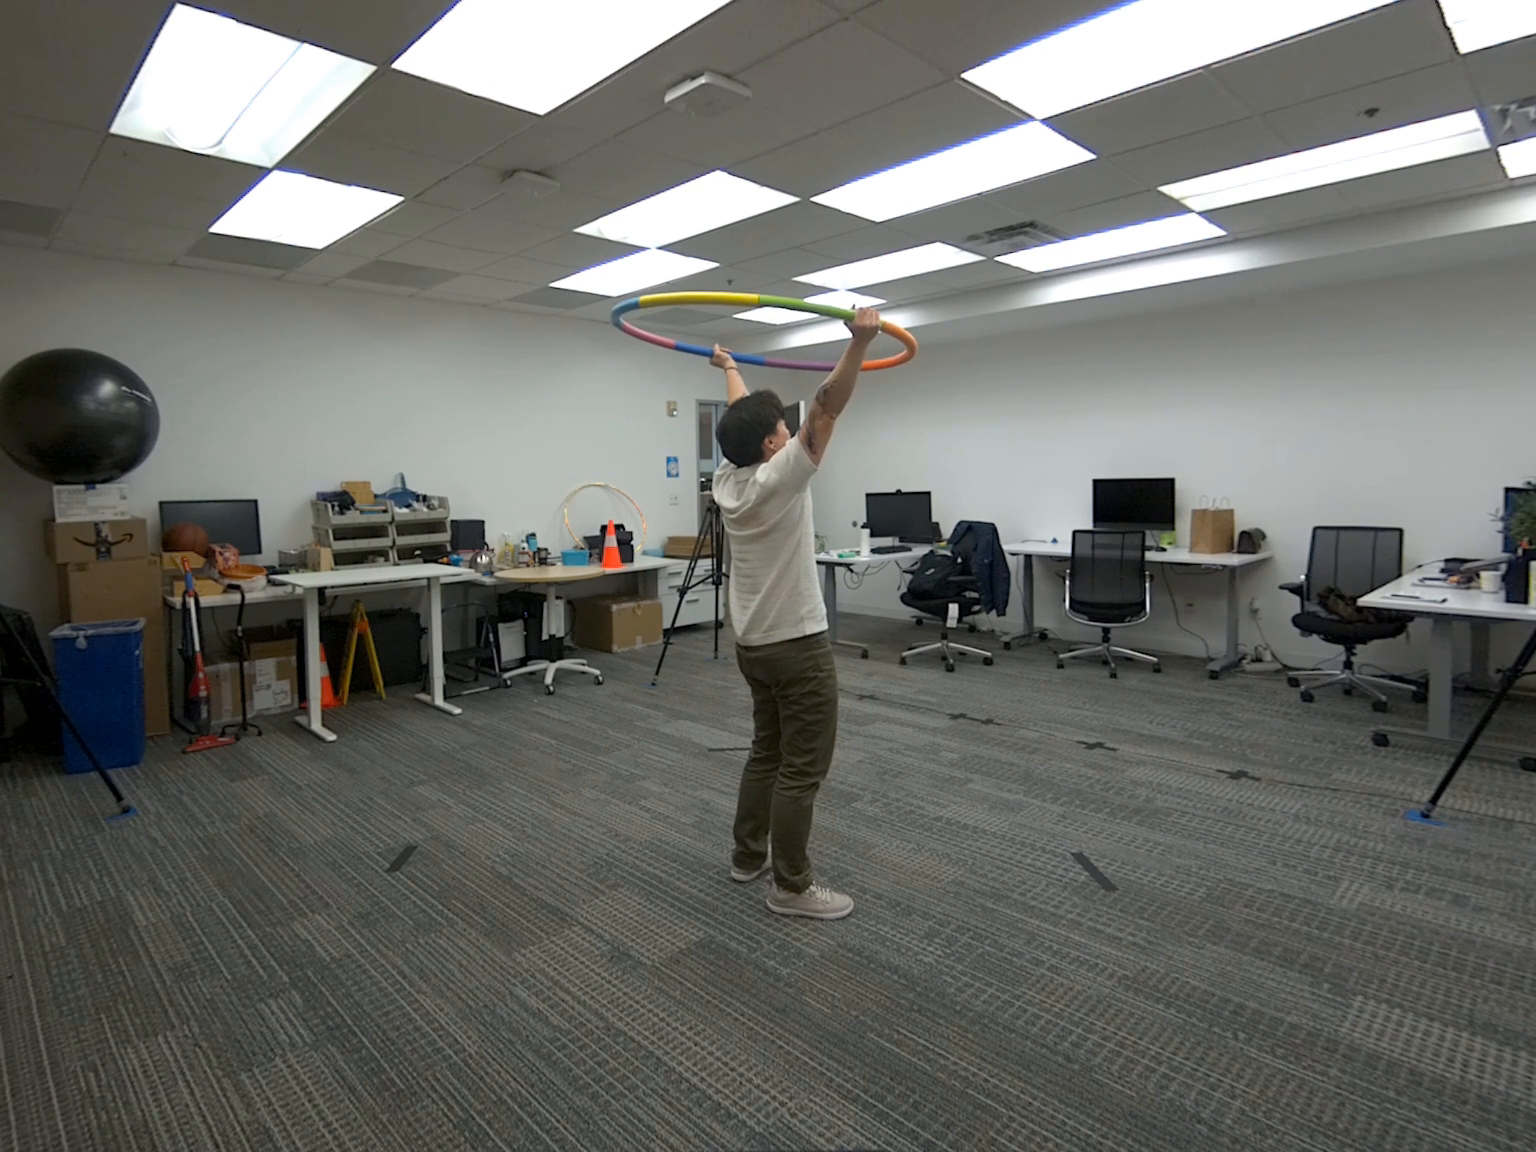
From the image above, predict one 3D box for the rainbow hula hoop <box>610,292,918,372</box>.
[{"bbox_3d":[-0.034,-0.771,2.766,0.978,0.035,0.983,7,5,-2],"label":"rainbow hula hoop"}]
